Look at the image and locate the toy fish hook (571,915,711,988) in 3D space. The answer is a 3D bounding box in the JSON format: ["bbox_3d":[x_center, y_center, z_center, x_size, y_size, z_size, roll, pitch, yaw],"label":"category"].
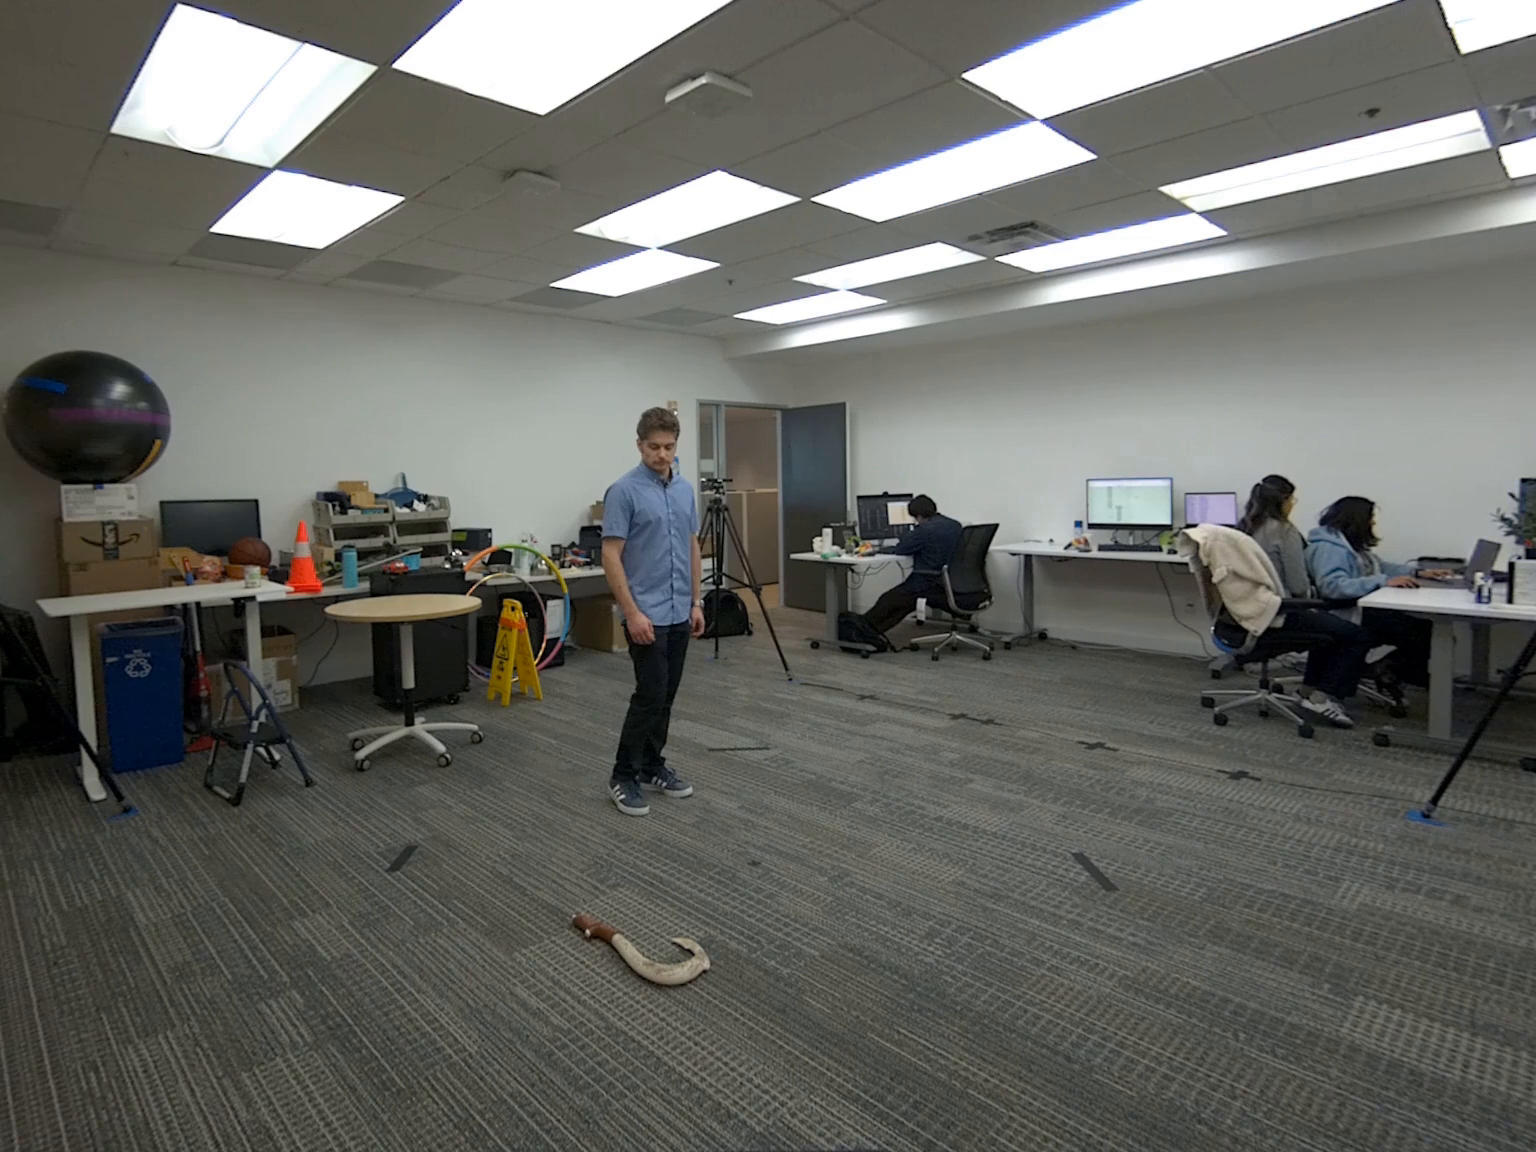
[{"bbox_3d":[-0.384,1.100,2.565,0.522,0.048,0.218,5,2,42],"label":"toy fish hook"}]
